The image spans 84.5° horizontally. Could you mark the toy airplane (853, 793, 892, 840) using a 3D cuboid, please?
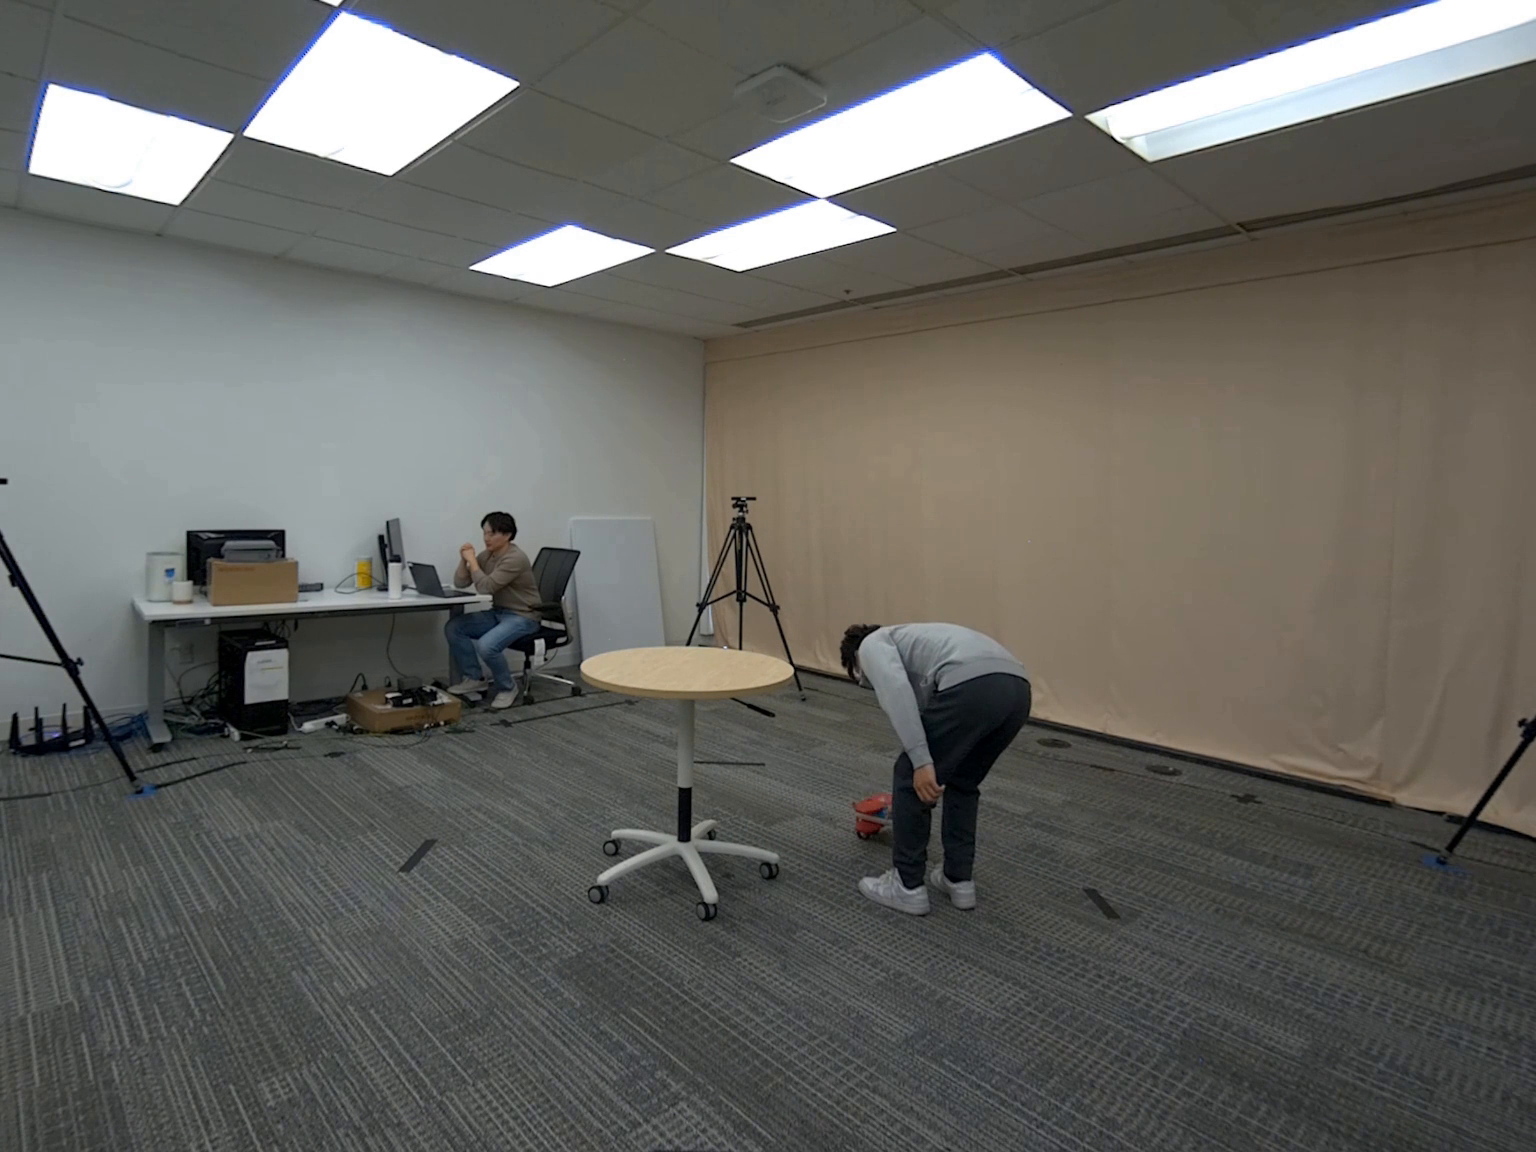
[{"bbox_3d":[0.485,0.997,3.480,0.260,0.157,0.248,-12,-5,8],"label":"toy airplane"}]
